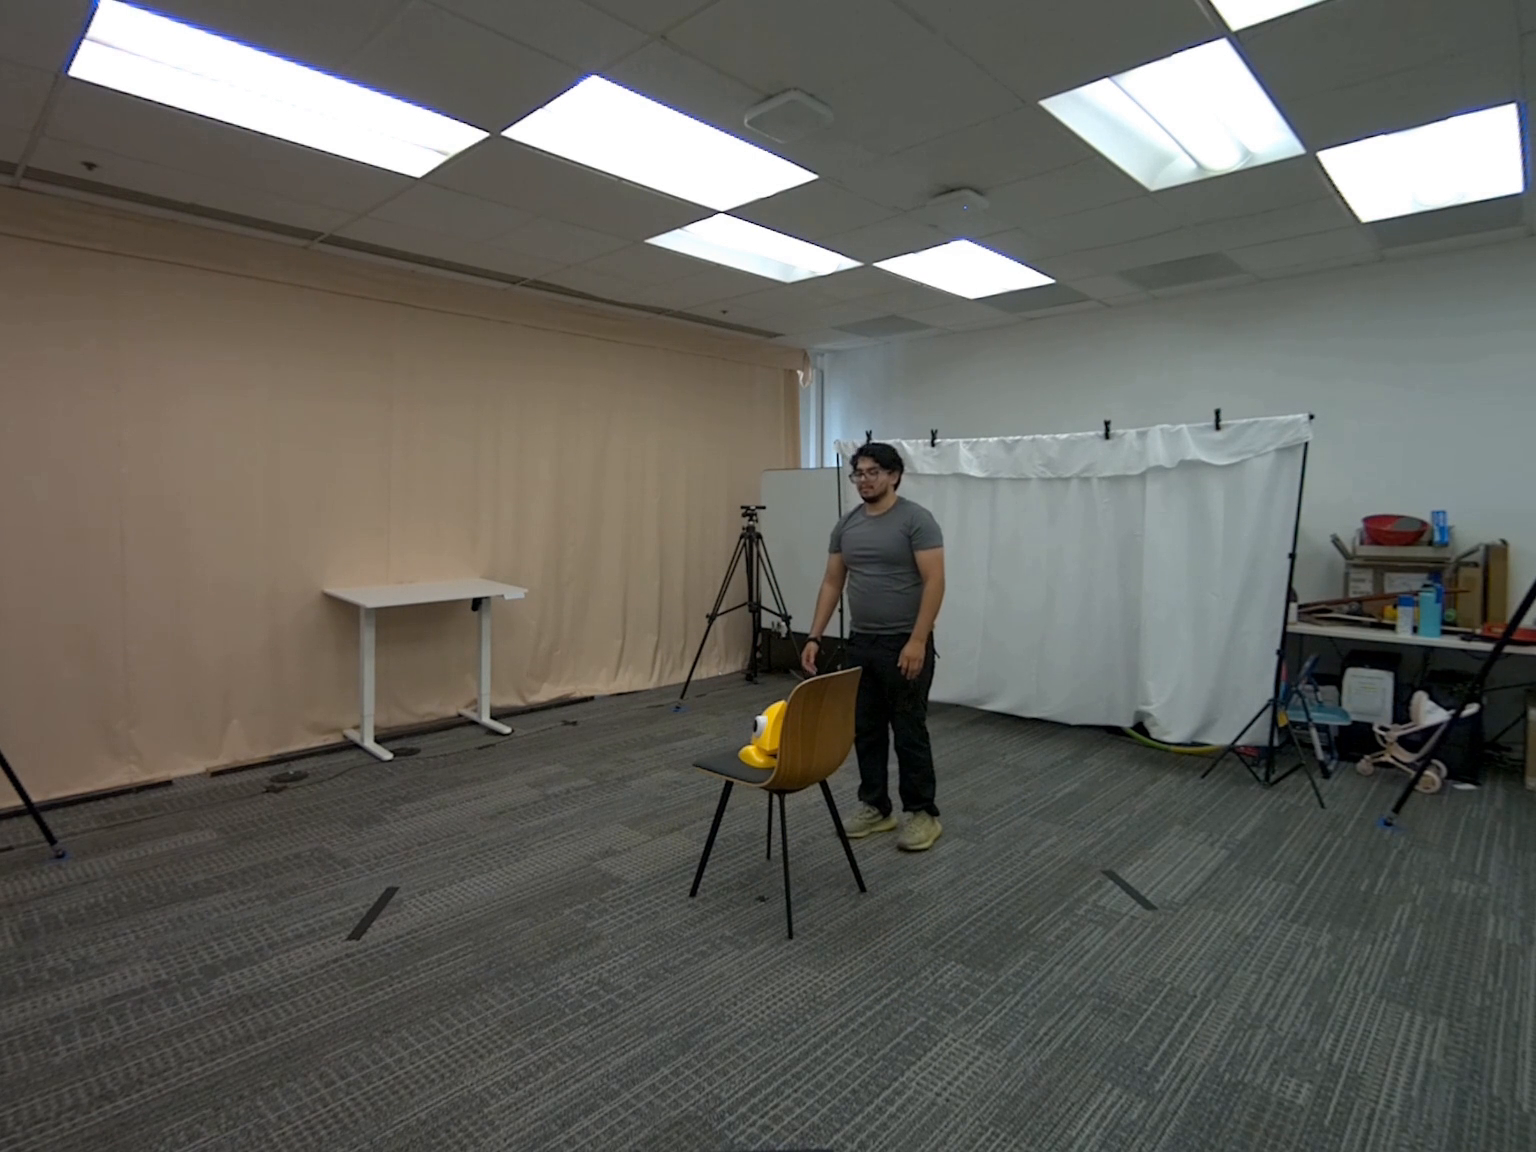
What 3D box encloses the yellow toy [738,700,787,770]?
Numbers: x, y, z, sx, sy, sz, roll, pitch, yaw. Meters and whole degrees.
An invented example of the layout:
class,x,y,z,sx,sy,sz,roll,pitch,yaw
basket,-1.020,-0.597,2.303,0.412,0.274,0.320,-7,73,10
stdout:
class,x,y,z,sx,sy,sz,roll,pitch,yaw
yellow toy,0.012,0.547,3.029,0.199,0.229,0.200,-7,12,-44
